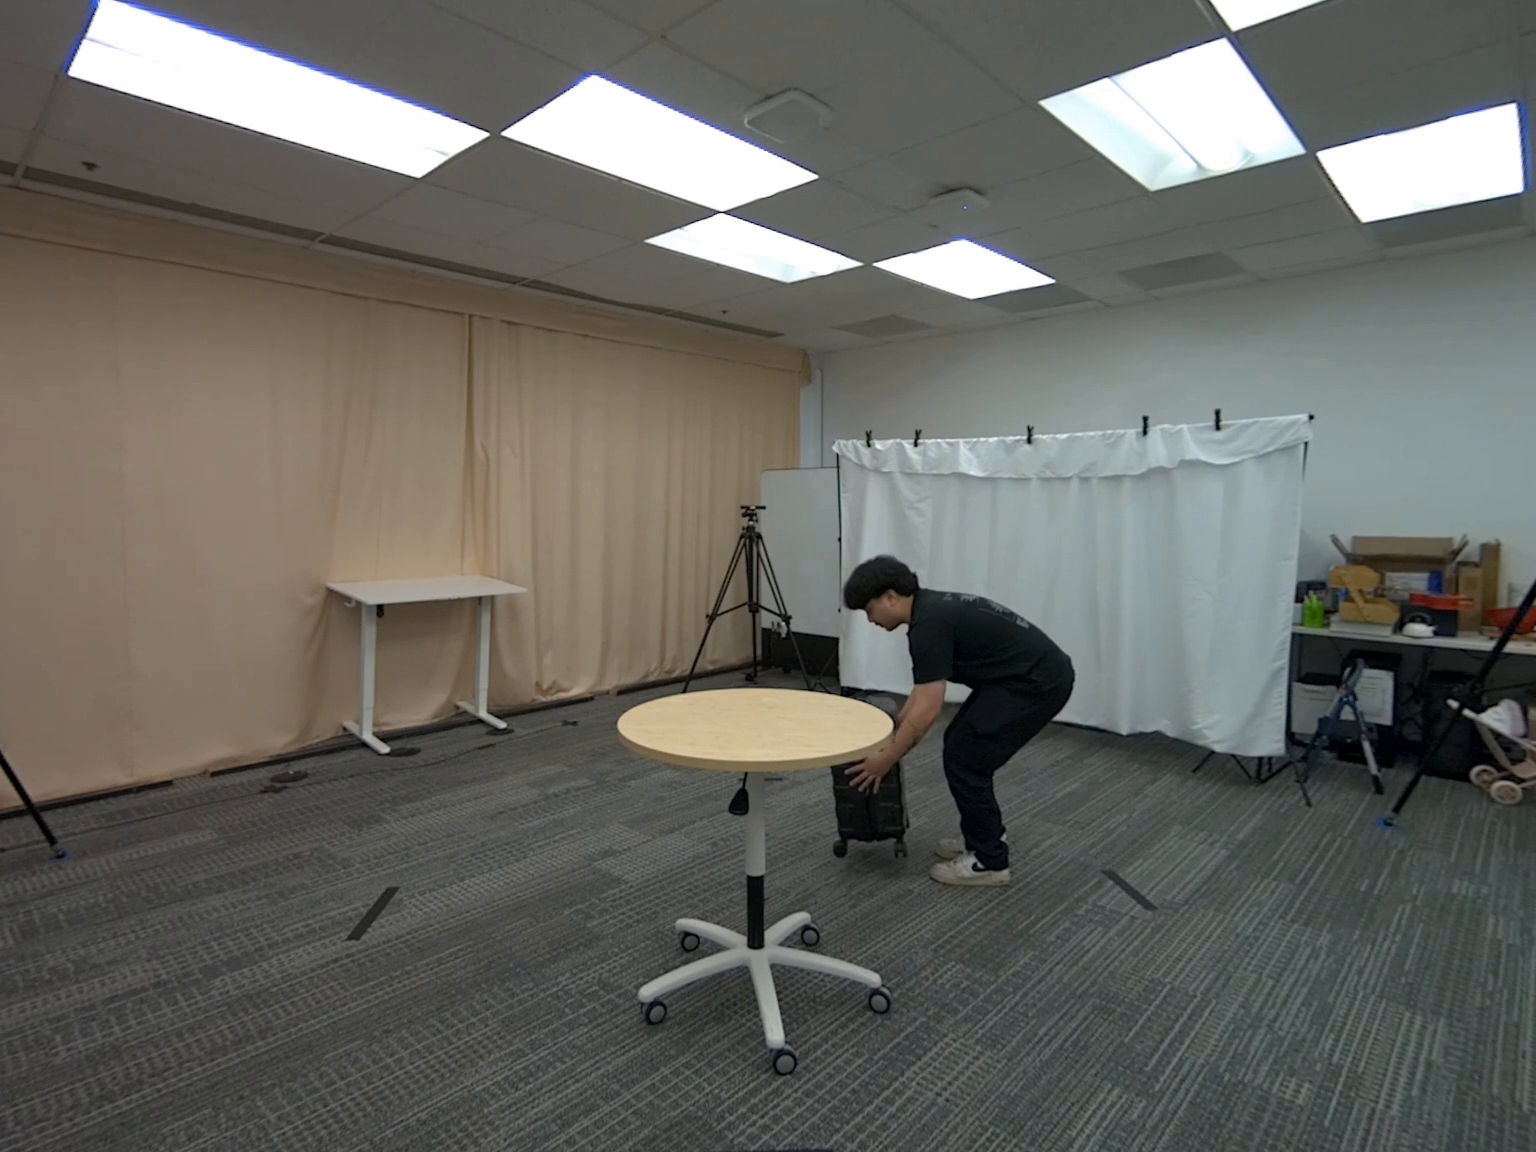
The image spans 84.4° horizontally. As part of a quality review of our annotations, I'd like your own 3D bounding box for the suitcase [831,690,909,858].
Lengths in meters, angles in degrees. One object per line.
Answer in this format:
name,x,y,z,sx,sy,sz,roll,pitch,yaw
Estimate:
suitcase,0.399,0.758,3.315,0.252,0.550,0.369,-5,0,14
